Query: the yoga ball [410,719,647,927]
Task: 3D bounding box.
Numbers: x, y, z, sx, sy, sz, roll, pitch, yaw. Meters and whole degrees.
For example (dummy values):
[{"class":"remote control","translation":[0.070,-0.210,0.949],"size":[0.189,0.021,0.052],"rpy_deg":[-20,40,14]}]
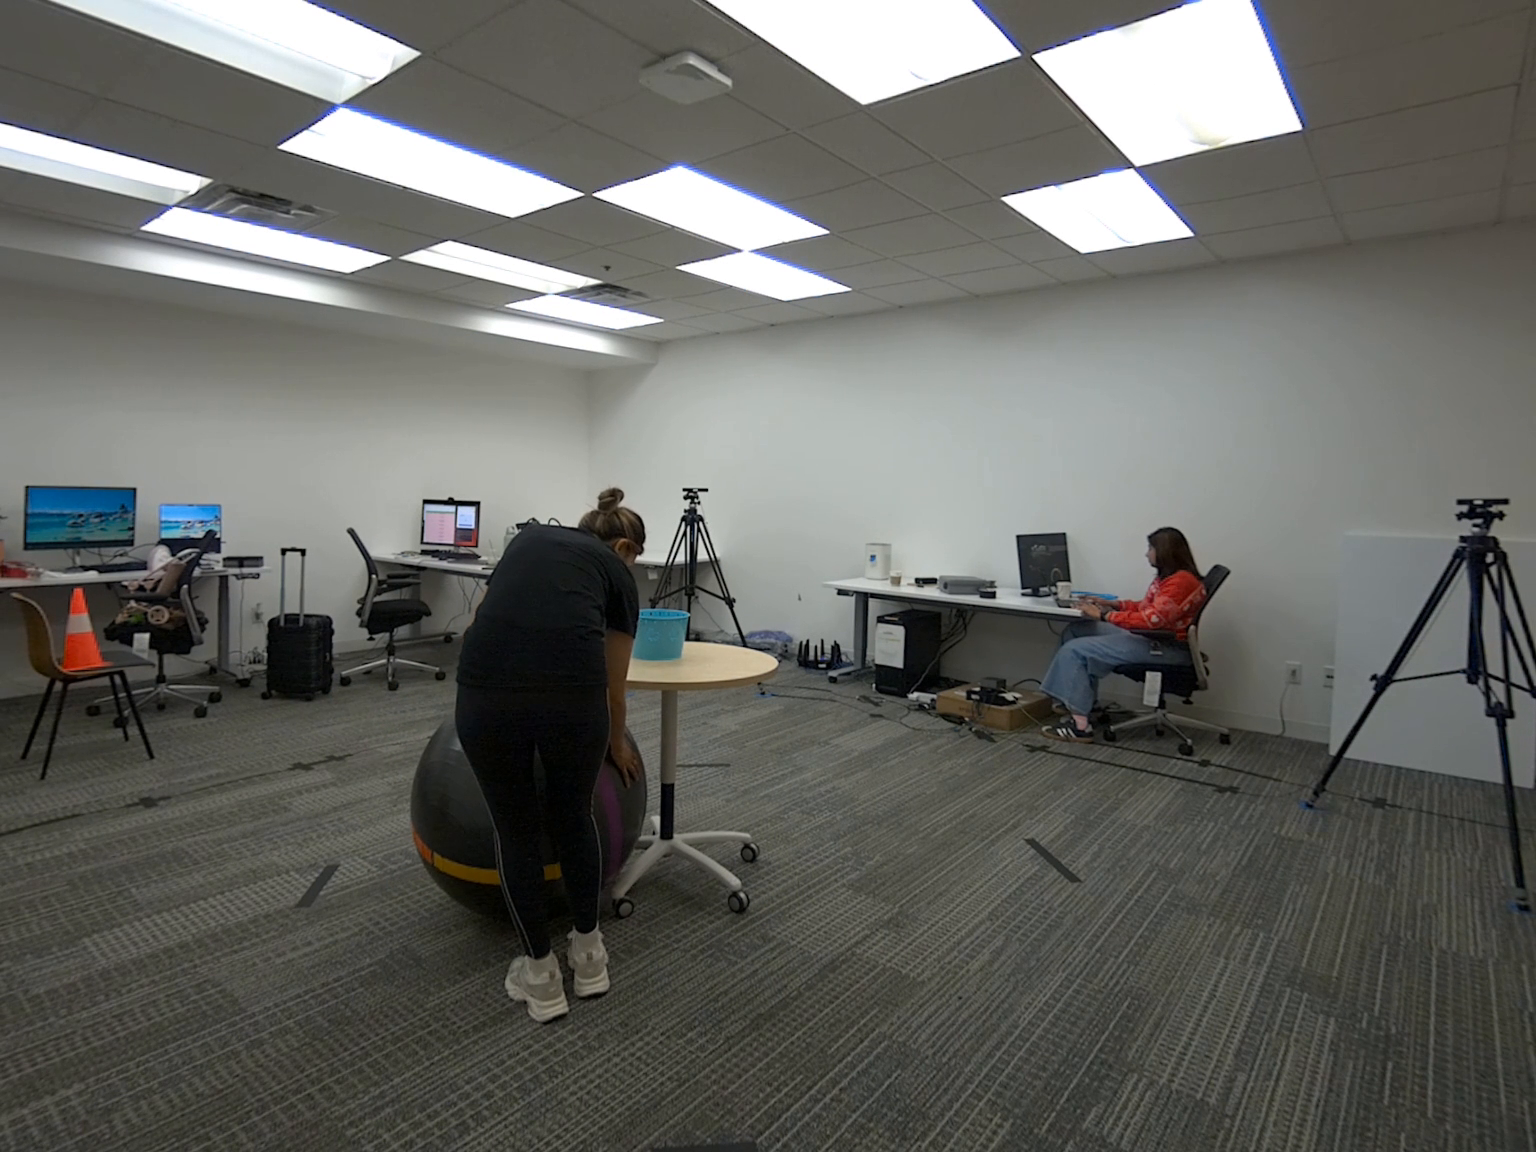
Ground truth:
[{"class":"yoga ball","translation":[-0.796,0.728,2.793],"size":[0.757,0.756,0.761],"rpy_deg":[1,4,-2]}]
